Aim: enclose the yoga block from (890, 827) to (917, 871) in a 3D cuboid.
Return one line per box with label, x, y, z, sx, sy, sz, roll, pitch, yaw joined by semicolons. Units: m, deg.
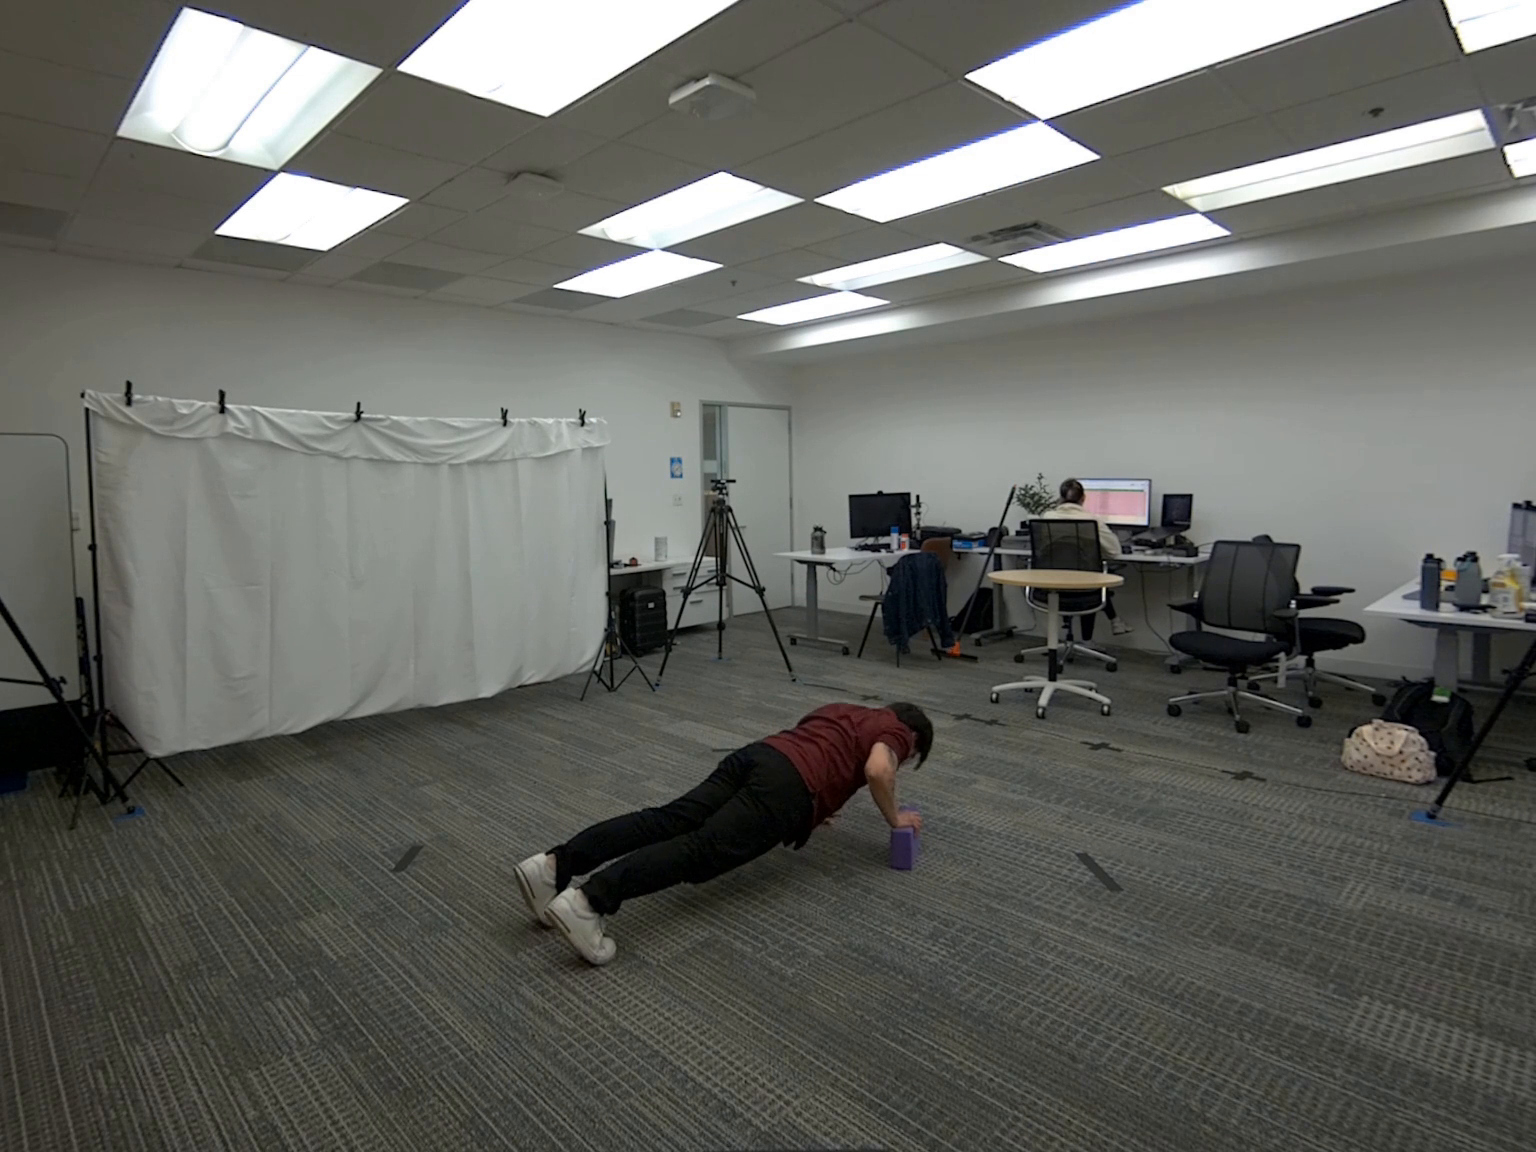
yoga block;0.497;0.953;3.138;0.078;0.148;0.227;0;7;17
